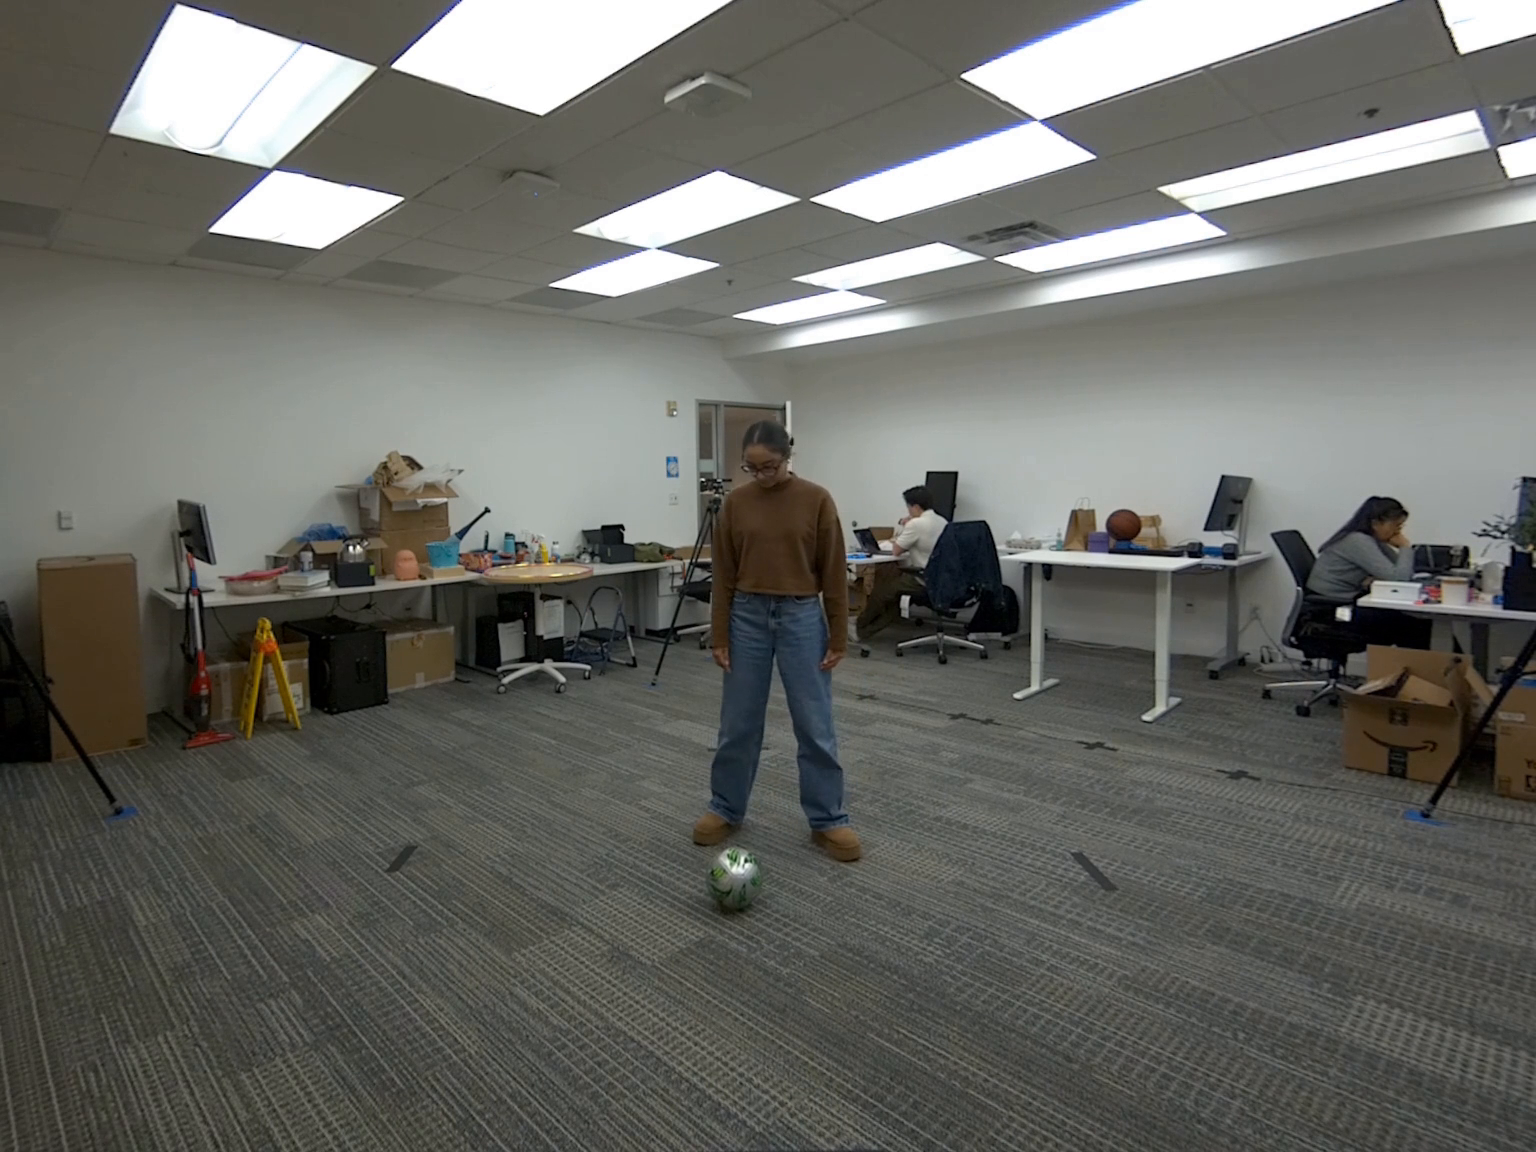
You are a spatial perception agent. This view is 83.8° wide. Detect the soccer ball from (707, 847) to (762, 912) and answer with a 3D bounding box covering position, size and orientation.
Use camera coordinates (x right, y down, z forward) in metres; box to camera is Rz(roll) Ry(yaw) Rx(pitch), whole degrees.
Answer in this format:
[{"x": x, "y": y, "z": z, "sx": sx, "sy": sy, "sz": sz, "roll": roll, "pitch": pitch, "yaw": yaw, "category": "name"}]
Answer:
[{"x": -0.112, "y": 0.991, "z": 2.794, "sx": 0.187, "sy": 0.187, "sz": 0.188, "roll": -1, "pitch": 5, "yaw": -2, "category": "soccer ball"}]
